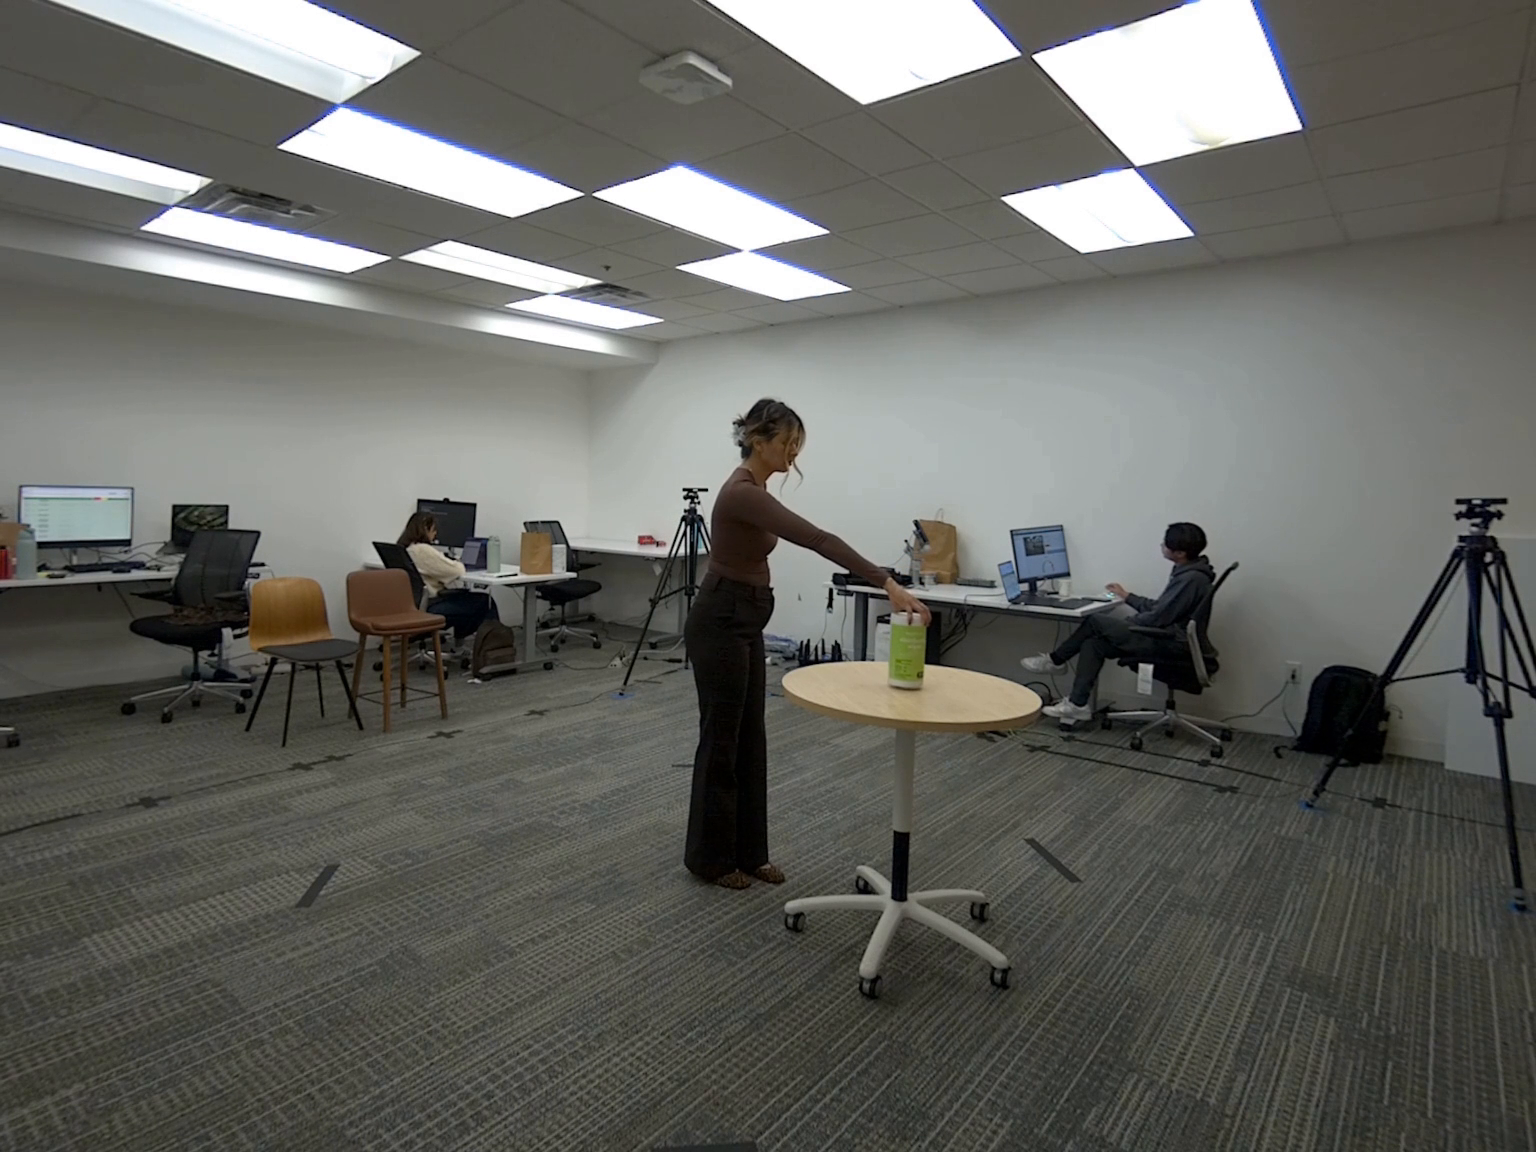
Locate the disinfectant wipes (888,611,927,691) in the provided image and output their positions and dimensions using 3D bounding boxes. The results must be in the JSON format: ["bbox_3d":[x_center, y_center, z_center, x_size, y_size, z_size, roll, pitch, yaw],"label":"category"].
[{"bbox_3d":[0.416,0.224,2.586,0.118,0.217,0.118,1,3,-2],"label":"disinfectant wipes"}]
